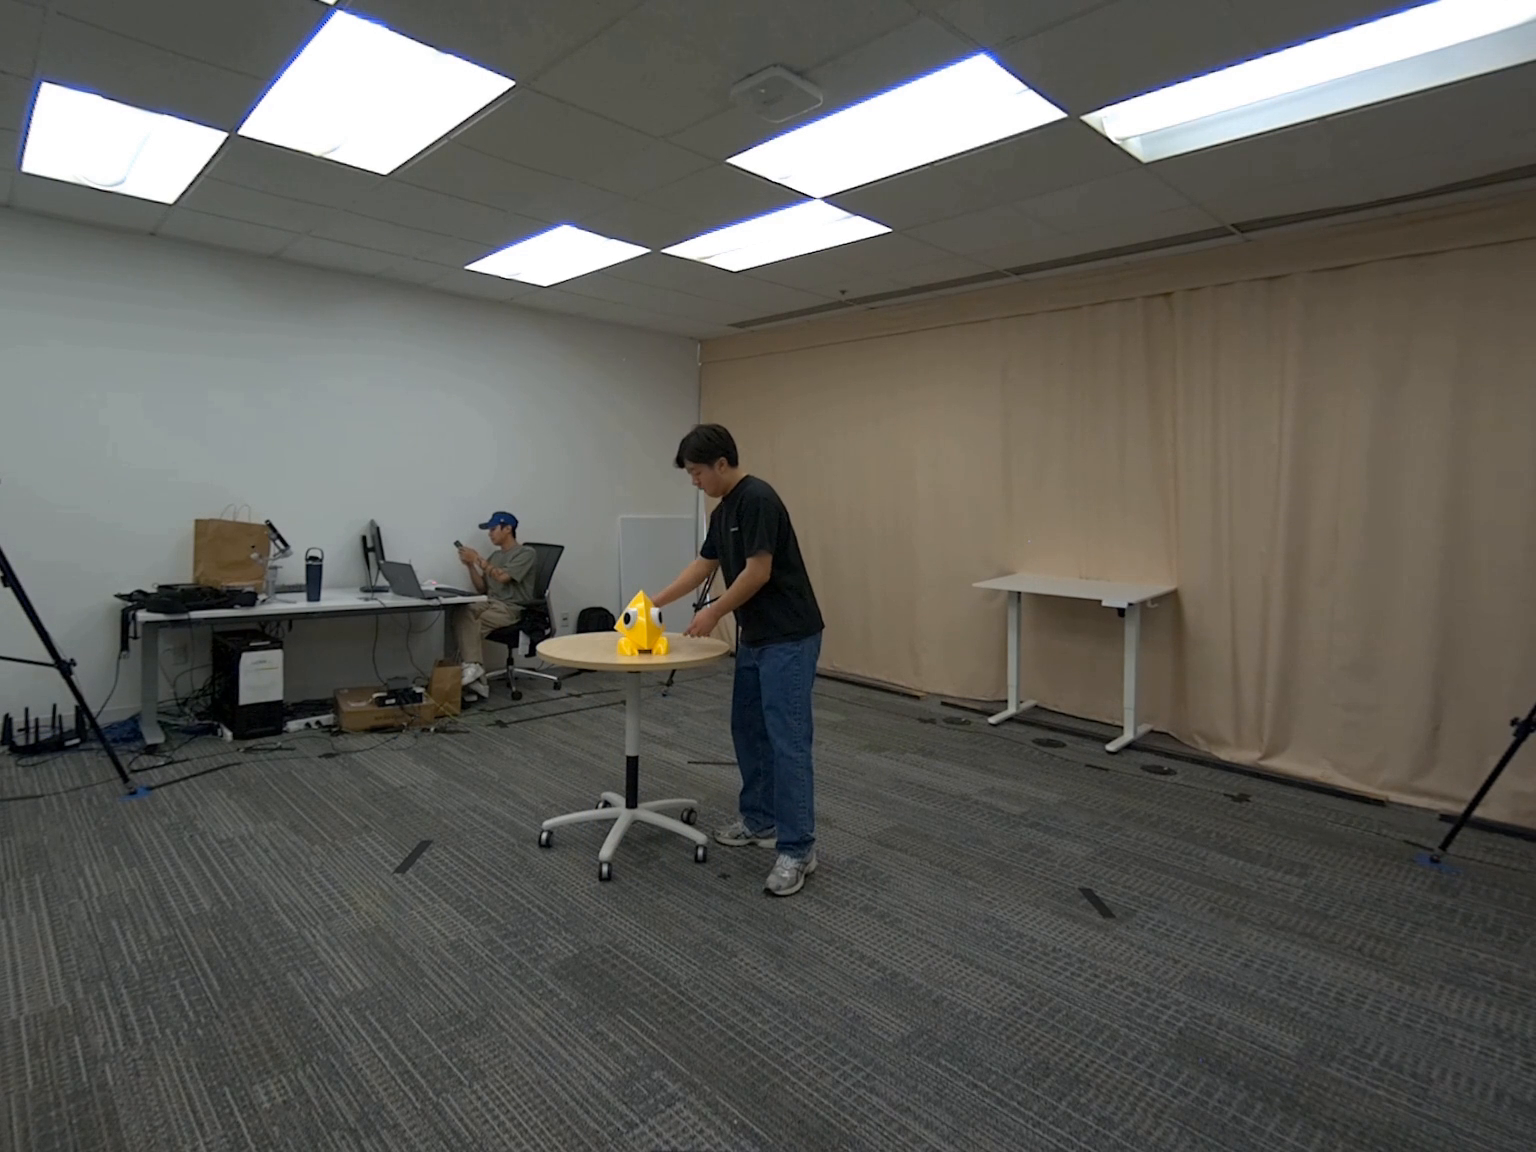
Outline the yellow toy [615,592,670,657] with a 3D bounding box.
[{"bbox_3d":[-0.483,0.177,3.233,0.202,0.230,0.196,0,5,-17],"label":"yellow toy"}]
